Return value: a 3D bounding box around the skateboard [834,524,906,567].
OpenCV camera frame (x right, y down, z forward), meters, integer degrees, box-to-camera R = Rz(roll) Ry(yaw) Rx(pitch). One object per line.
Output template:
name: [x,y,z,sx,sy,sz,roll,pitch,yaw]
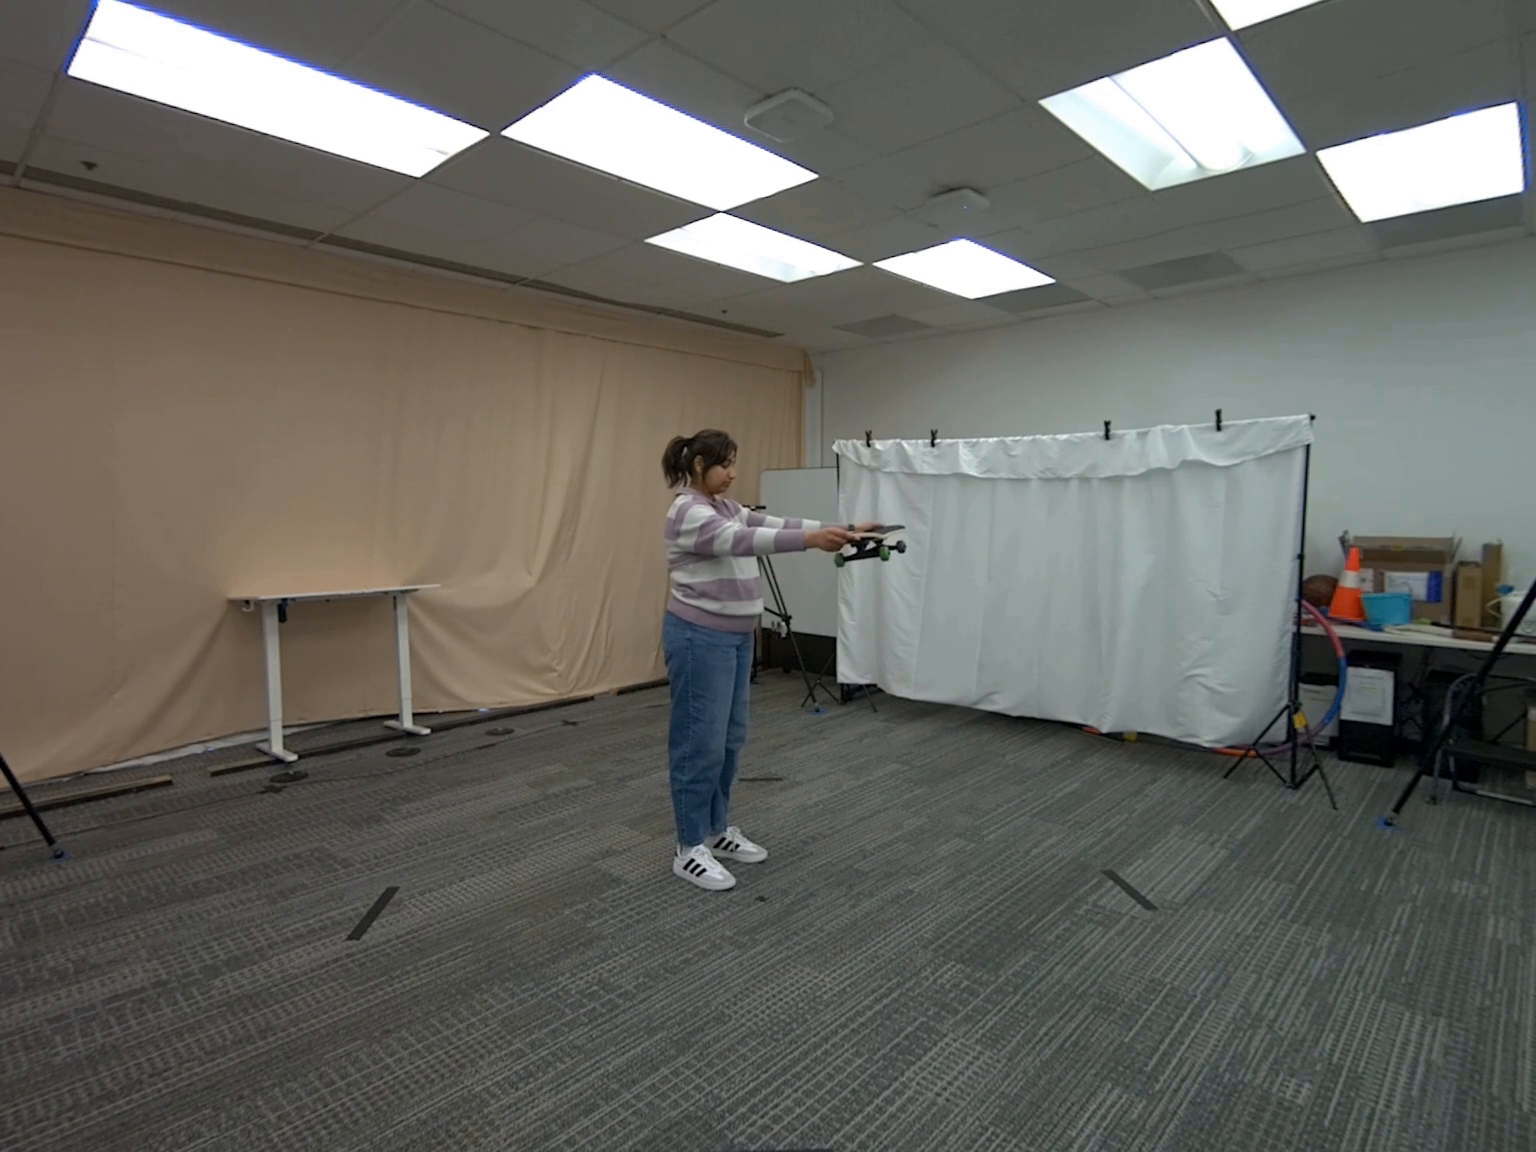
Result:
skateboard: [0.365,-0.106,3.054,0.197,0.110,0.773,4,7,15]
